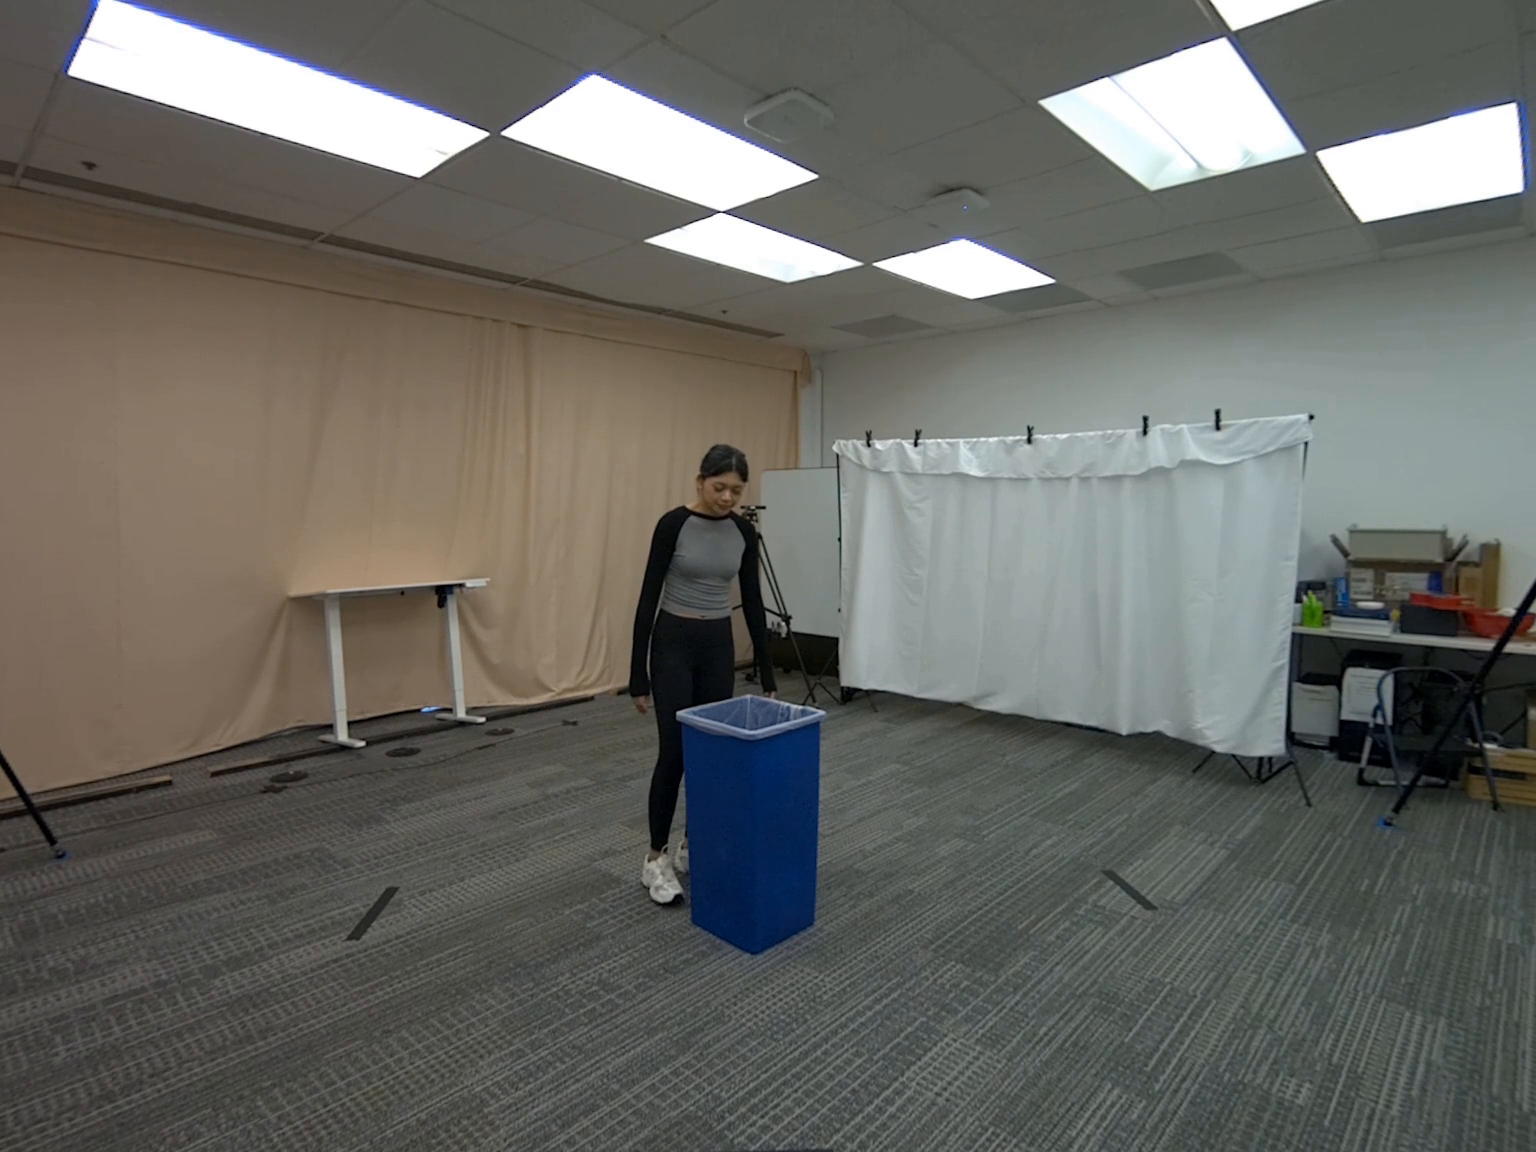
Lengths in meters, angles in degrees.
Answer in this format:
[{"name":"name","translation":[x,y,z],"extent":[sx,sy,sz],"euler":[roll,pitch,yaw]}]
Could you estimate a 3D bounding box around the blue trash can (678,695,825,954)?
[{"name":"blue trash can","translation":[-0.049,0.804,2.784],"extent":[0.391,0.712,0.362],"euler":[3,4,45]}]
